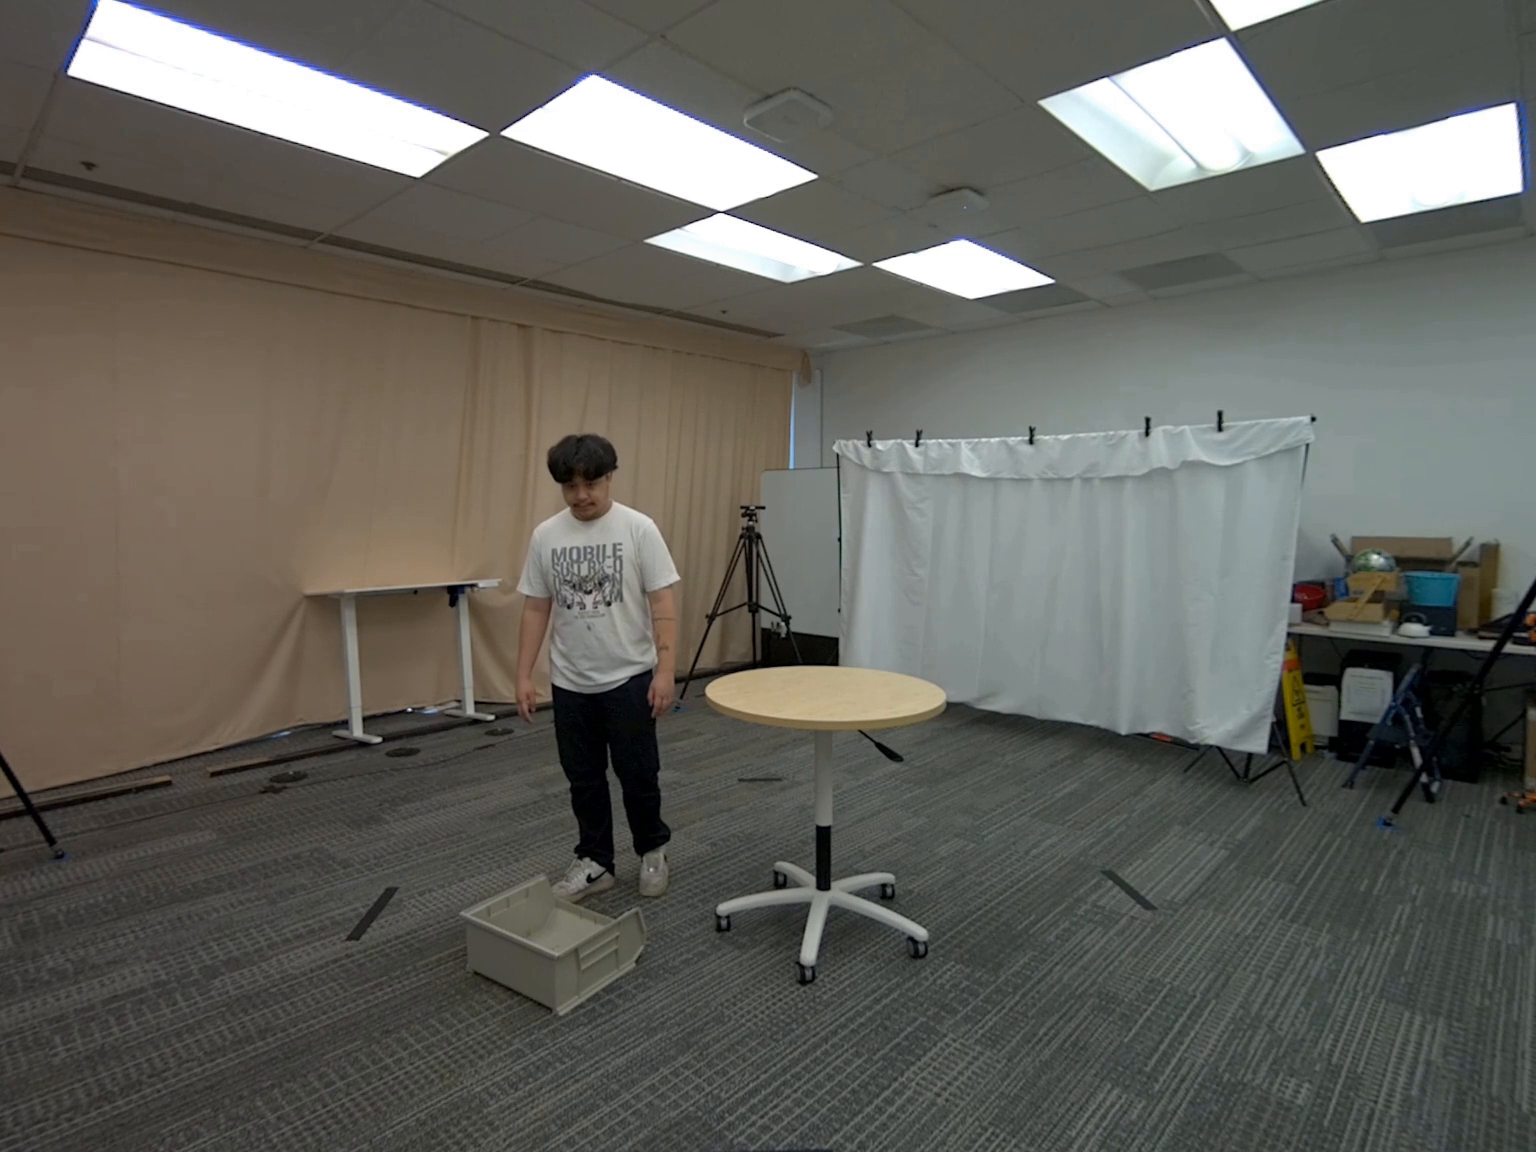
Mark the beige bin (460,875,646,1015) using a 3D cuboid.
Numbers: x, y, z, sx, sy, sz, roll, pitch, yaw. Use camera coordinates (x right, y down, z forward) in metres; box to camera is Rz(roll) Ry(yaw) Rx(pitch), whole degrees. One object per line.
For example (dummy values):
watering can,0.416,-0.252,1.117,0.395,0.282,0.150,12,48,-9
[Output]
beige bin,-0.646,1.093,2.554,0.435,0.188,0.367,3,6,33
